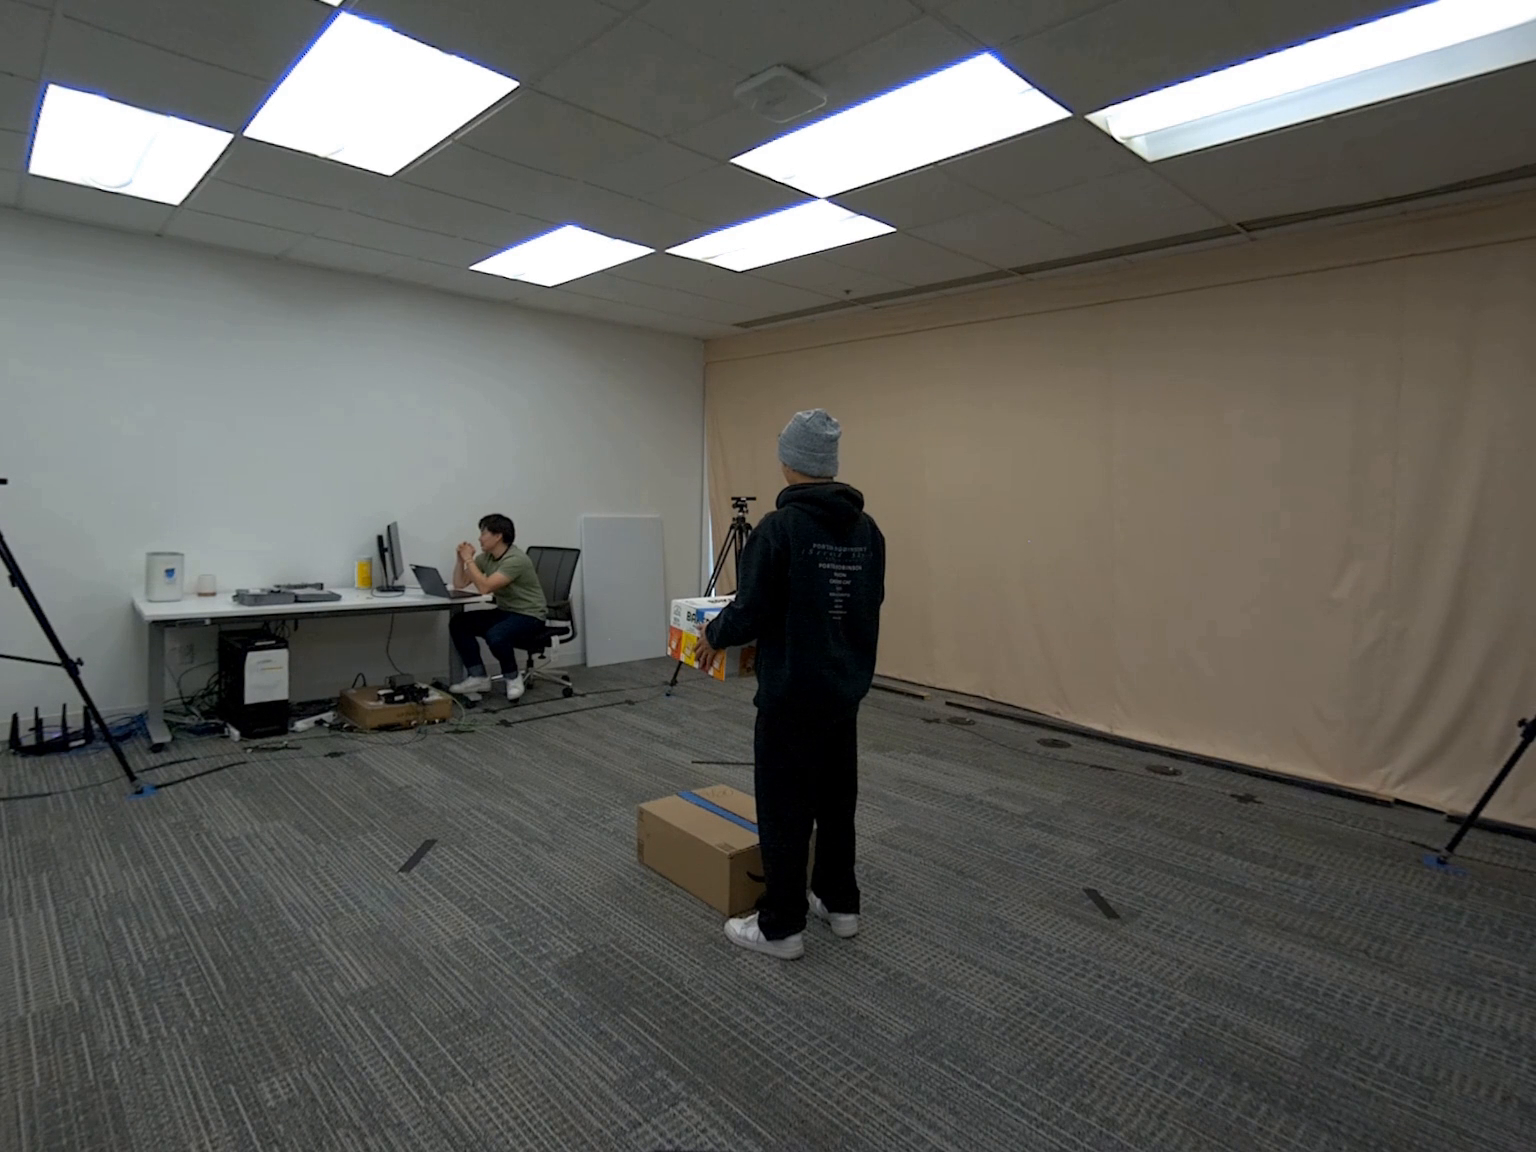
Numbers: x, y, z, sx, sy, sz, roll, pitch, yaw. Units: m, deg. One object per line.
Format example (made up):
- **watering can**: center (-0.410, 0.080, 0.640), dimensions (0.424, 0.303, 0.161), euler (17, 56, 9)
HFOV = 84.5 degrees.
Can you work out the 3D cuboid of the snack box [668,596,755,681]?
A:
- **snack box**: center (-0.100, 0.209, 3.014), dimensions (0.396, 0.204, 0.350), euler (-3, 13, -39)
